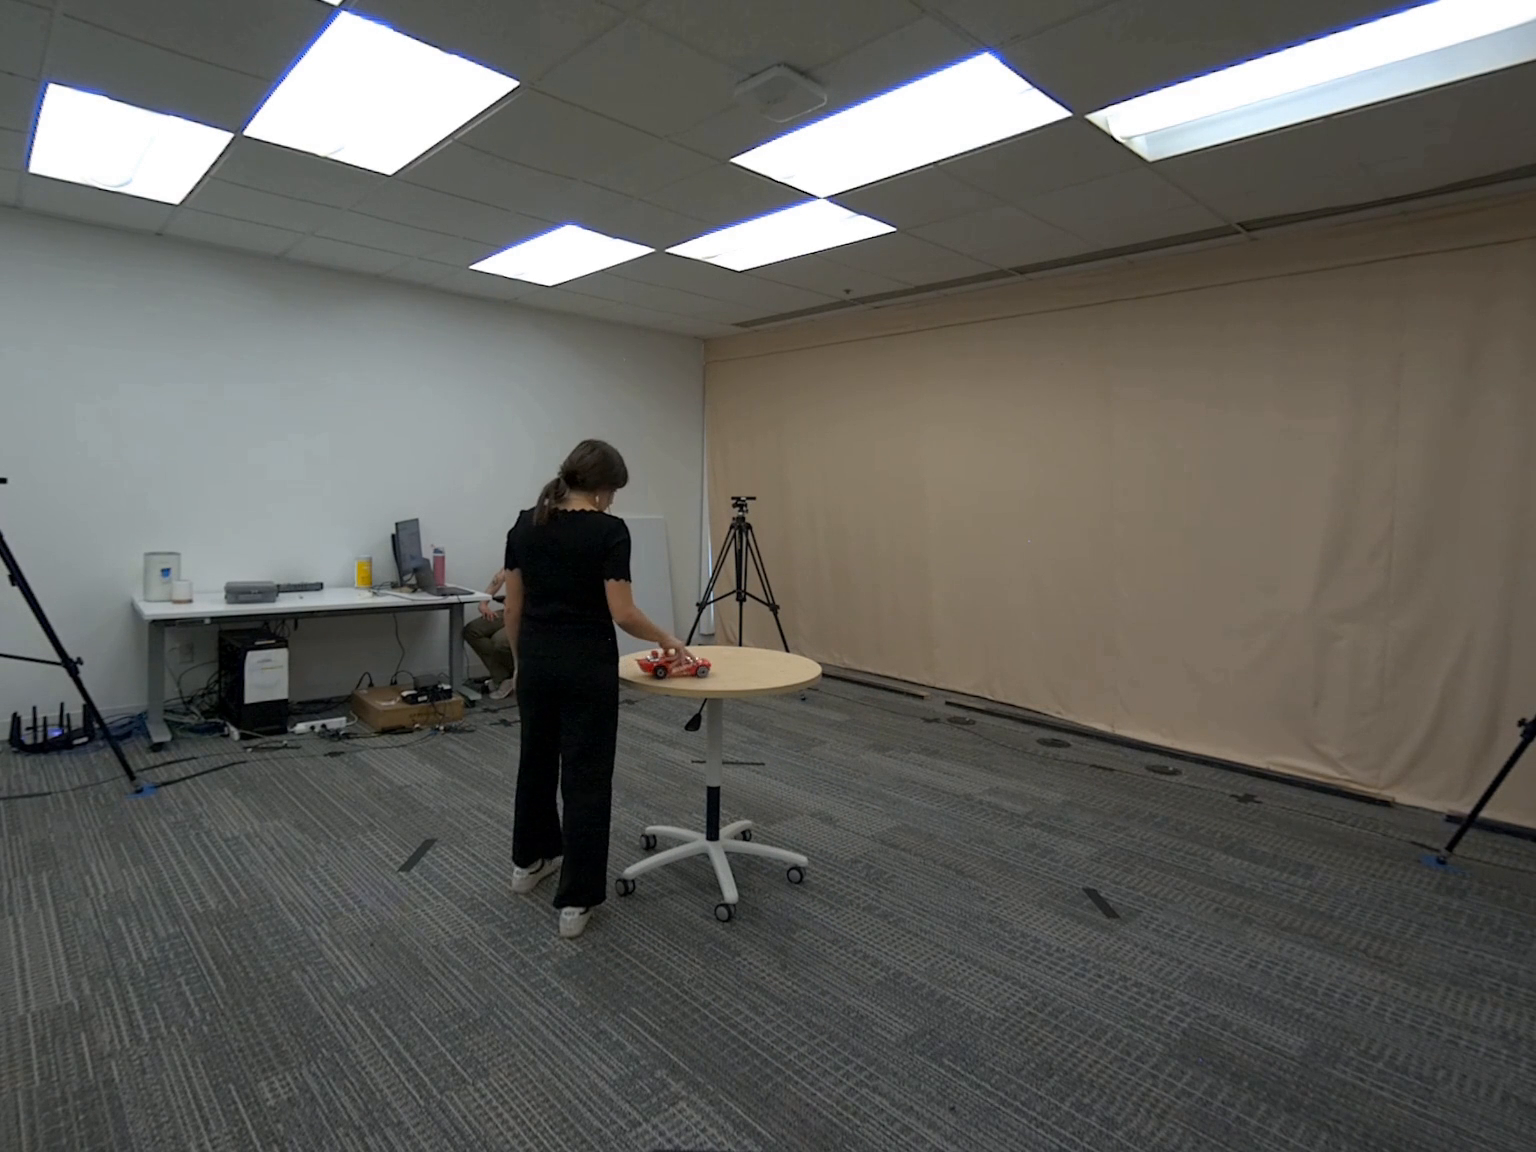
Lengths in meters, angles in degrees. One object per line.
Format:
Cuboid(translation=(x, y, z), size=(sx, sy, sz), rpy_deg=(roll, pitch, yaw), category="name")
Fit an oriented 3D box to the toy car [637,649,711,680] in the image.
Cuboid(translation=(-0.338, 0.309, 2.864), size=(0.251, 0.083, 0.132), rpy_deg=(11, 3, -14), category="toy car")
